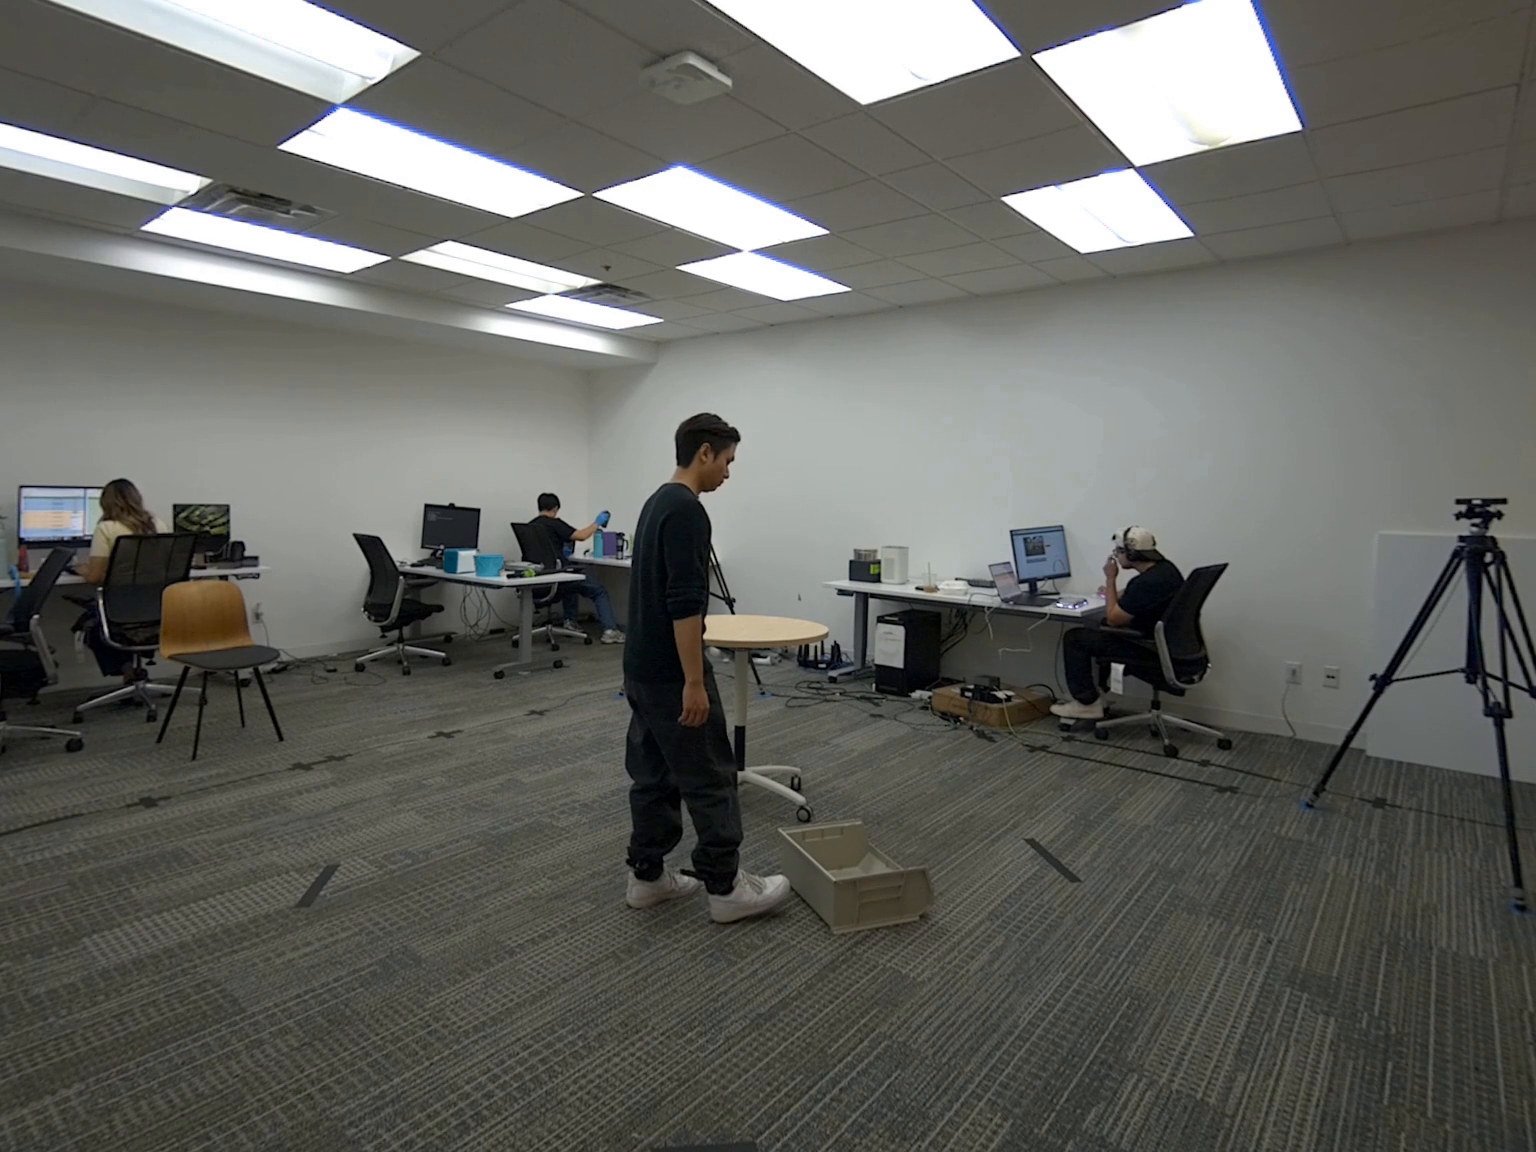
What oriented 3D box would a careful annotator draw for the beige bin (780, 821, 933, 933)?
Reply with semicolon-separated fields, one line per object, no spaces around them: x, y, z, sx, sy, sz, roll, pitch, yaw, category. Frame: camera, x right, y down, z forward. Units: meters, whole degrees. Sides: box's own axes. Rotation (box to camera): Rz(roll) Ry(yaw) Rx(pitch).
0.283;1.010;2.913;0.369;0.188;0.433;-2;6;-22;beige bin
